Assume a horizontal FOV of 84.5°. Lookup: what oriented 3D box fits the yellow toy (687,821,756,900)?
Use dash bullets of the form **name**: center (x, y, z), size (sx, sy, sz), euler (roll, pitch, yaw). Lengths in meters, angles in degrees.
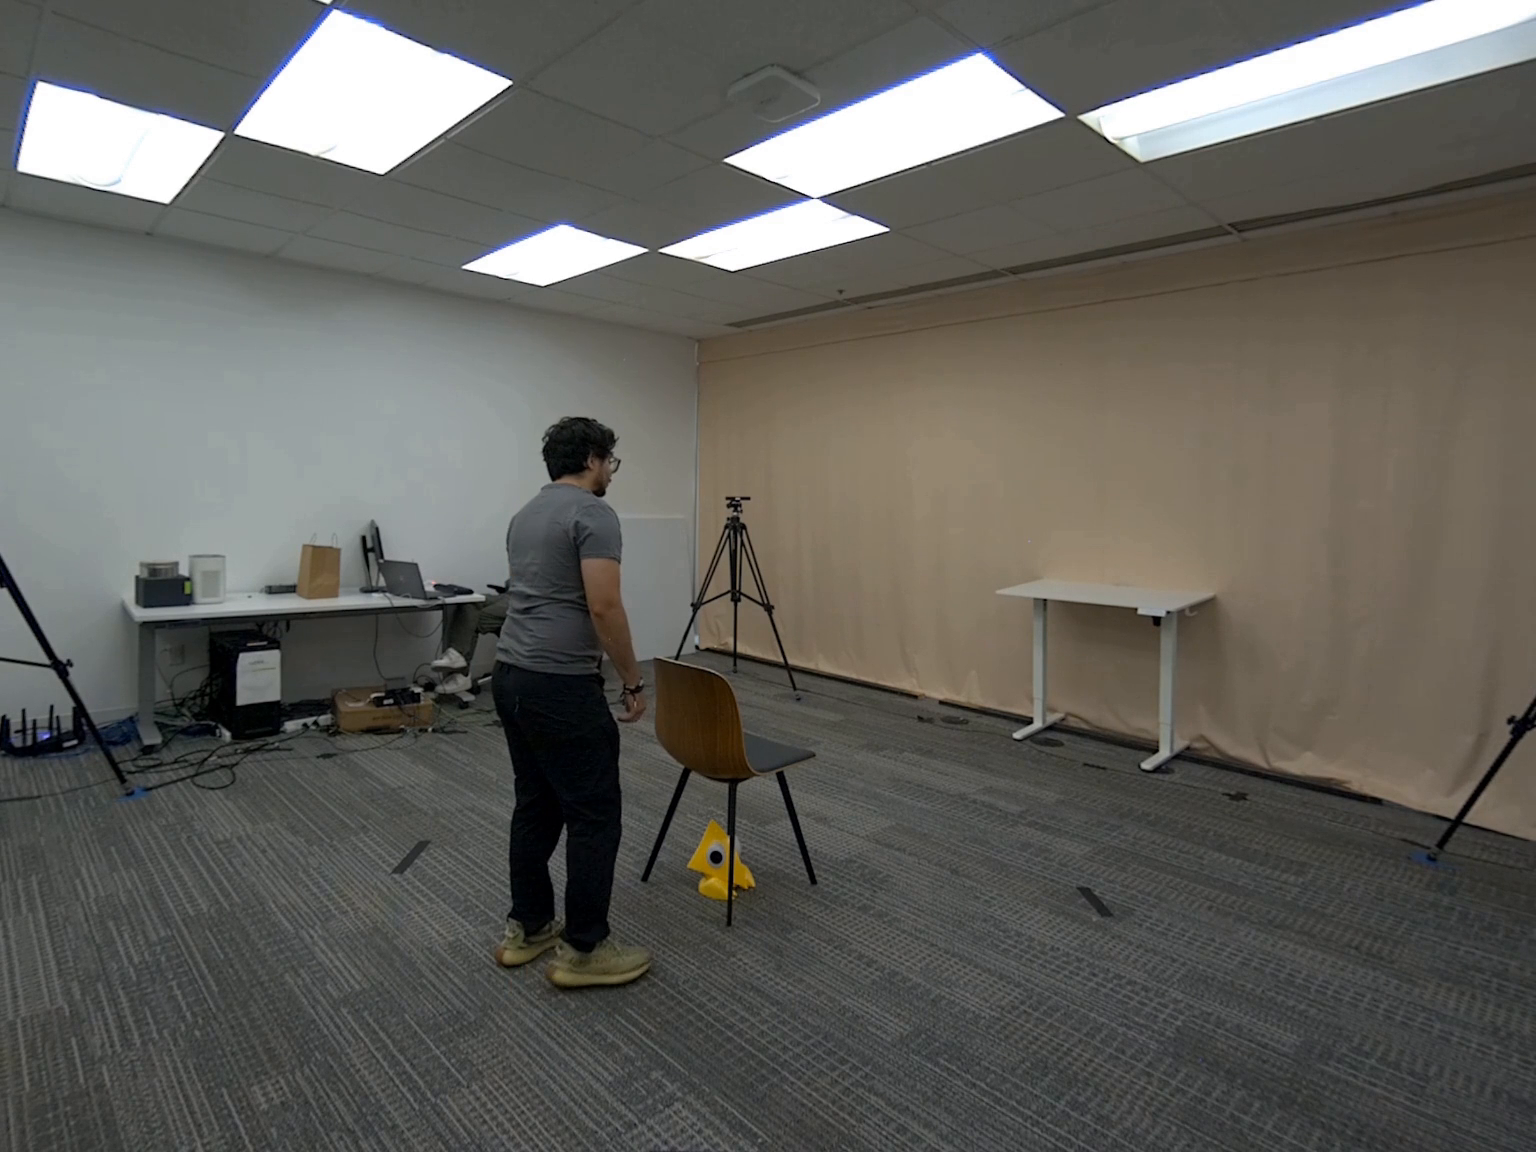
- **yellow toy**: center (-0.166, 1.000, 3.014), size (0.198, 0.230, 0.200), euler (4, 5, 37)
